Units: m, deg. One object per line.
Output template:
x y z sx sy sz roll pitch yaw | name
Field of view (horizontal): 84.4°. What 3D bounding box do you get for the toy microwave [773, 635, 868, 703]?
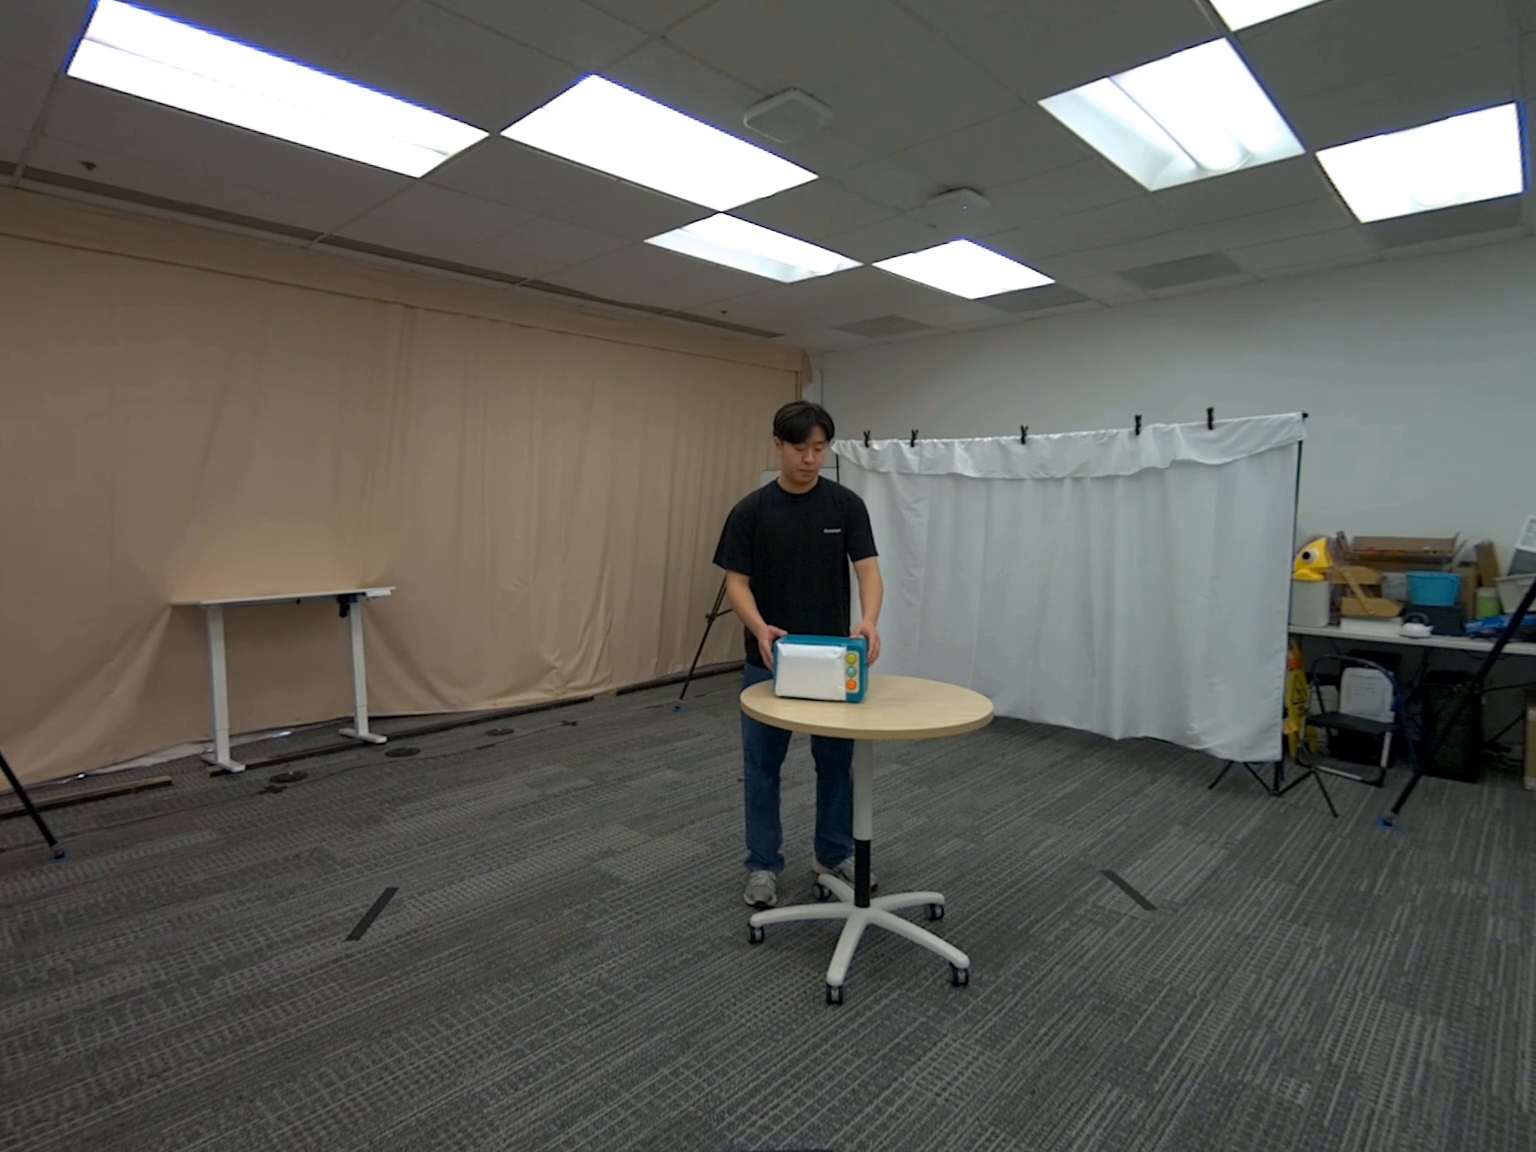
0.164 0.282 2.607 0.291 0.183 0.150 2 4 16 | toy microwave
